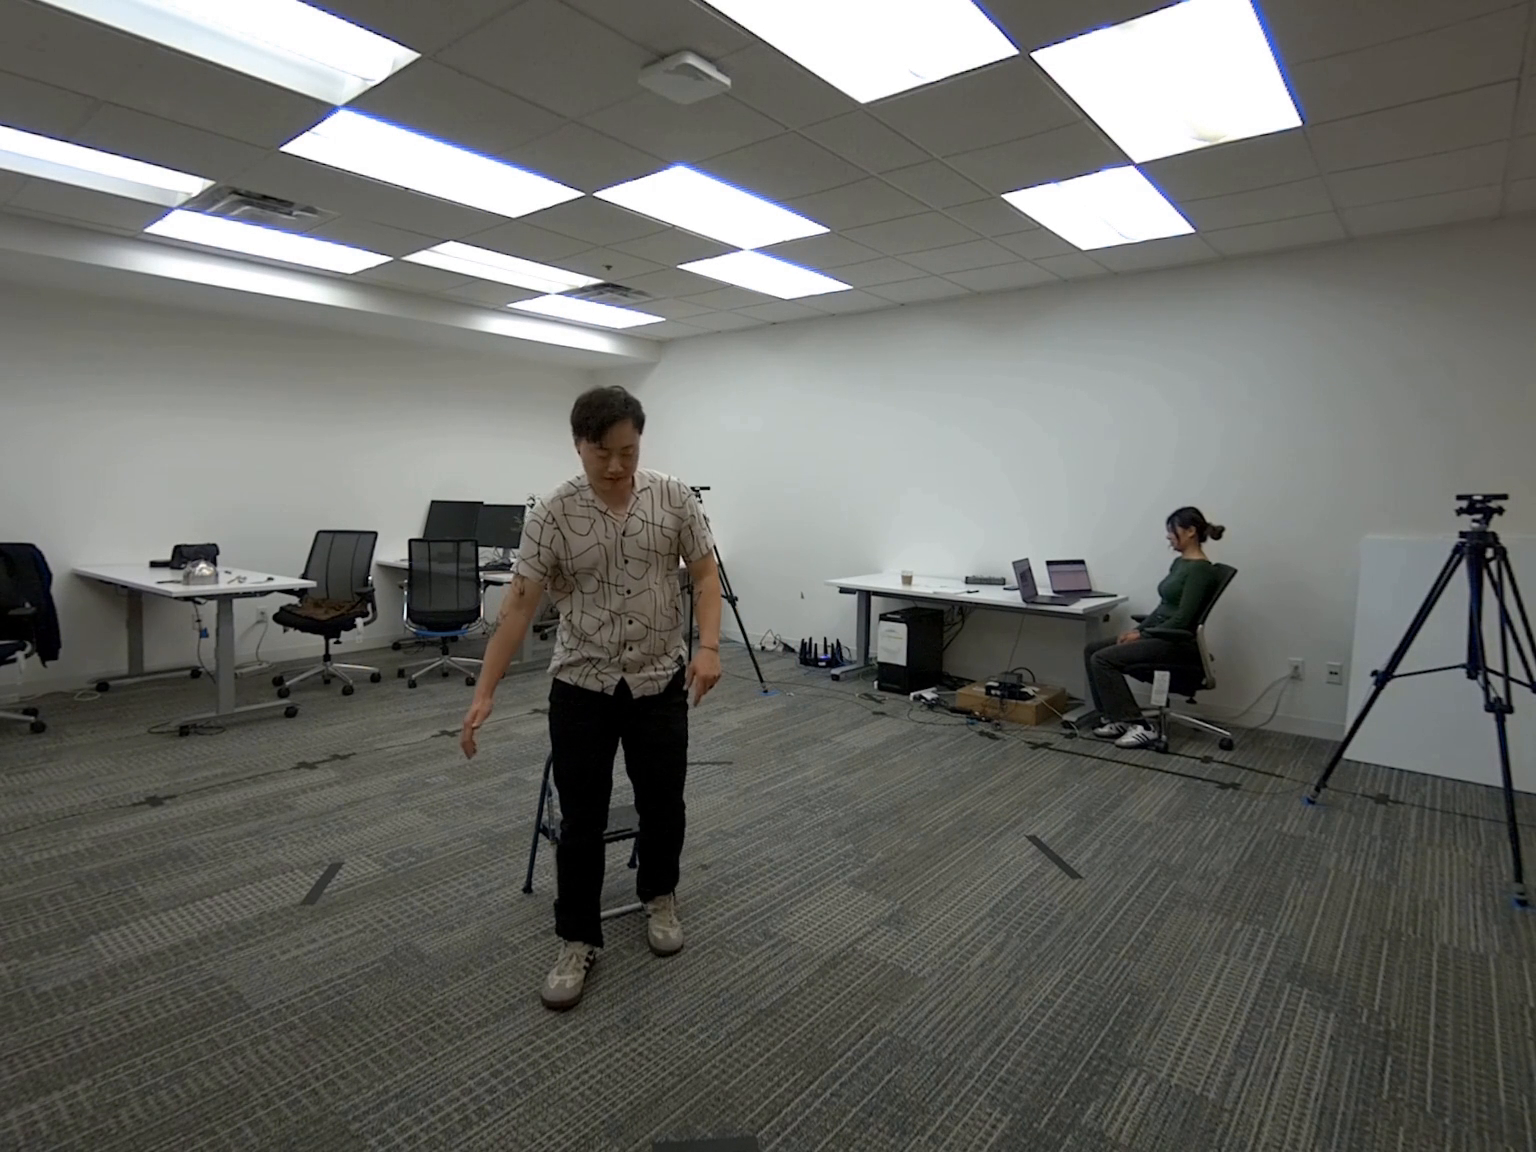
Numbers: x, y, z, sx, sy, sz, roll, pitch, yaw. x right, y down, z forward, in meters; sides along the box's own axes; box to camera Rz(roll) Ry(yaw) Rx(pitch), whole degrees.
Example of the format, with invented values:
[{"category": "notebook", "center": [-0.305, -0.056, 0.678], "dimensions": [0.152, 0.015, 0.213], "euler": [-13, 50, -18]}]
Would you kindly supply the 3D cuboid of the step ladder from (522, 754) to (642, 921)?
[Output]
[{"category": "step ladder", "center": [-0.582, 0.781, 2.872], "dimensions": [0.418, 0.604, 0.360], "euler": [-2, 4, -33]}]
